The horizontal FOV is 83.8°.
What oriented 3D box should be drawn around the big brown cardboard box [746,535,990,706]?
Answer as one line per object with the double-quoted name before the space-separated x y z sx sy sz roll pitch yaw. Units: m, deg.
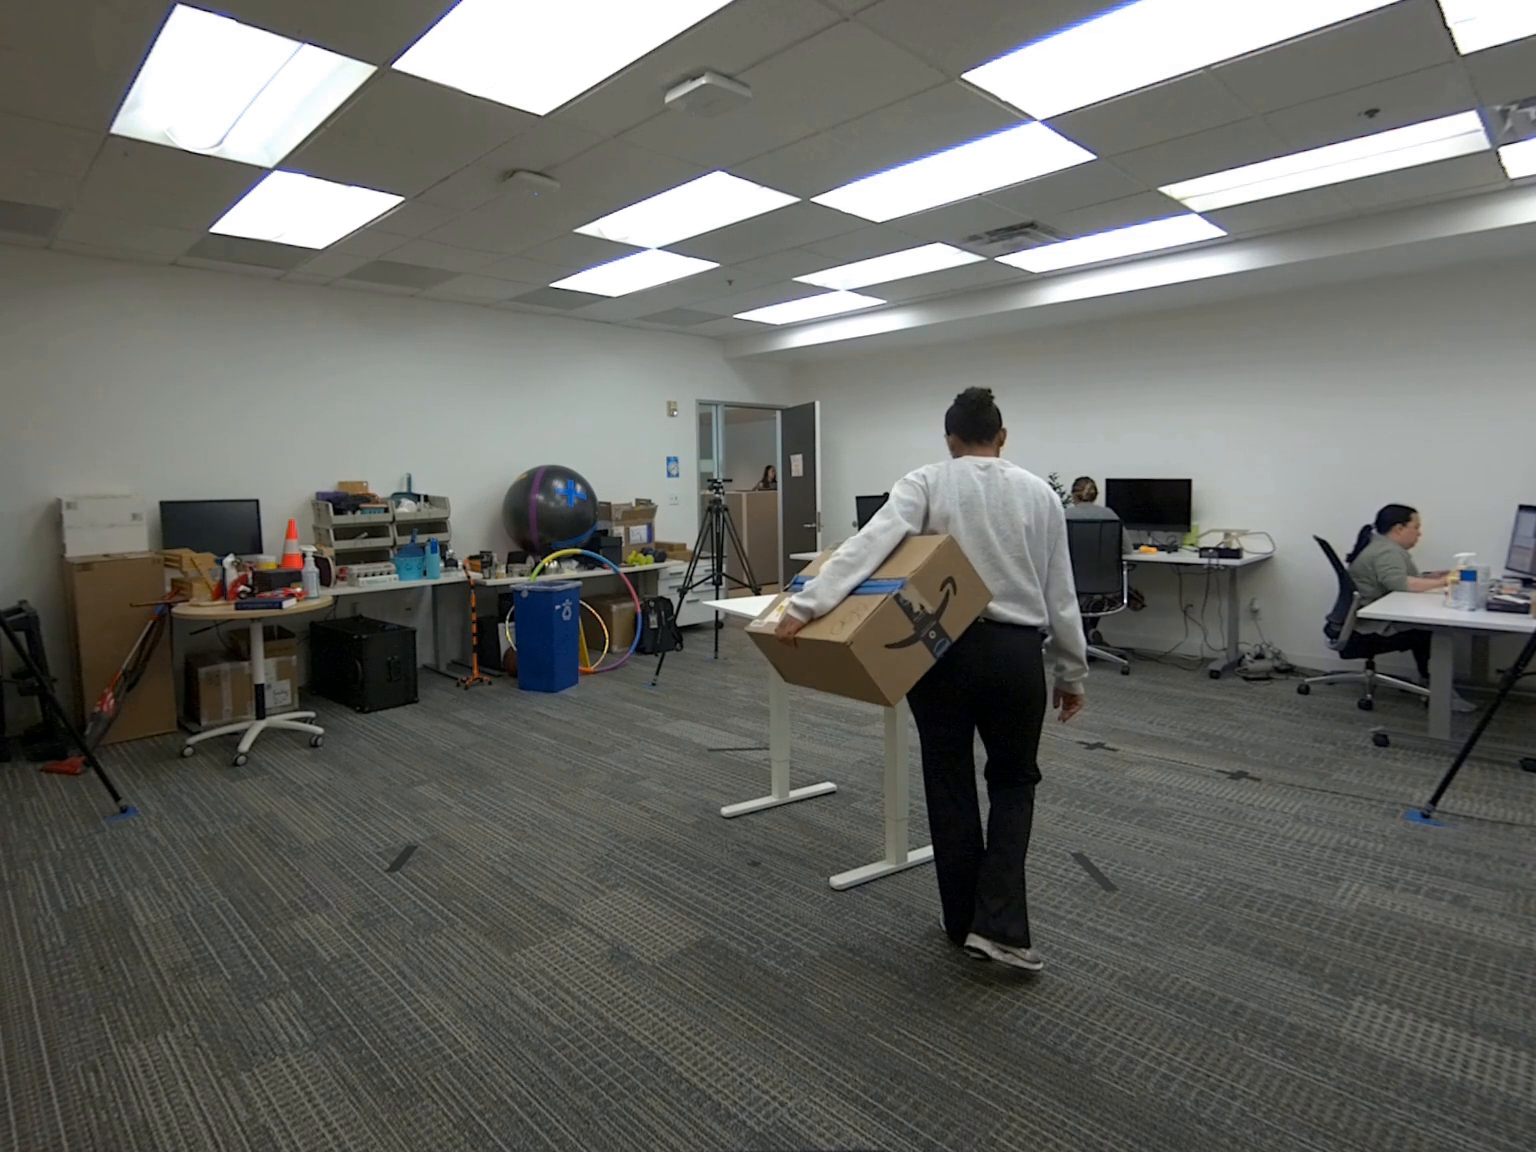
"big brown cardboard box" 0.256 0.102 2.372 0.417 0.229 0.601 -43 17 -21
